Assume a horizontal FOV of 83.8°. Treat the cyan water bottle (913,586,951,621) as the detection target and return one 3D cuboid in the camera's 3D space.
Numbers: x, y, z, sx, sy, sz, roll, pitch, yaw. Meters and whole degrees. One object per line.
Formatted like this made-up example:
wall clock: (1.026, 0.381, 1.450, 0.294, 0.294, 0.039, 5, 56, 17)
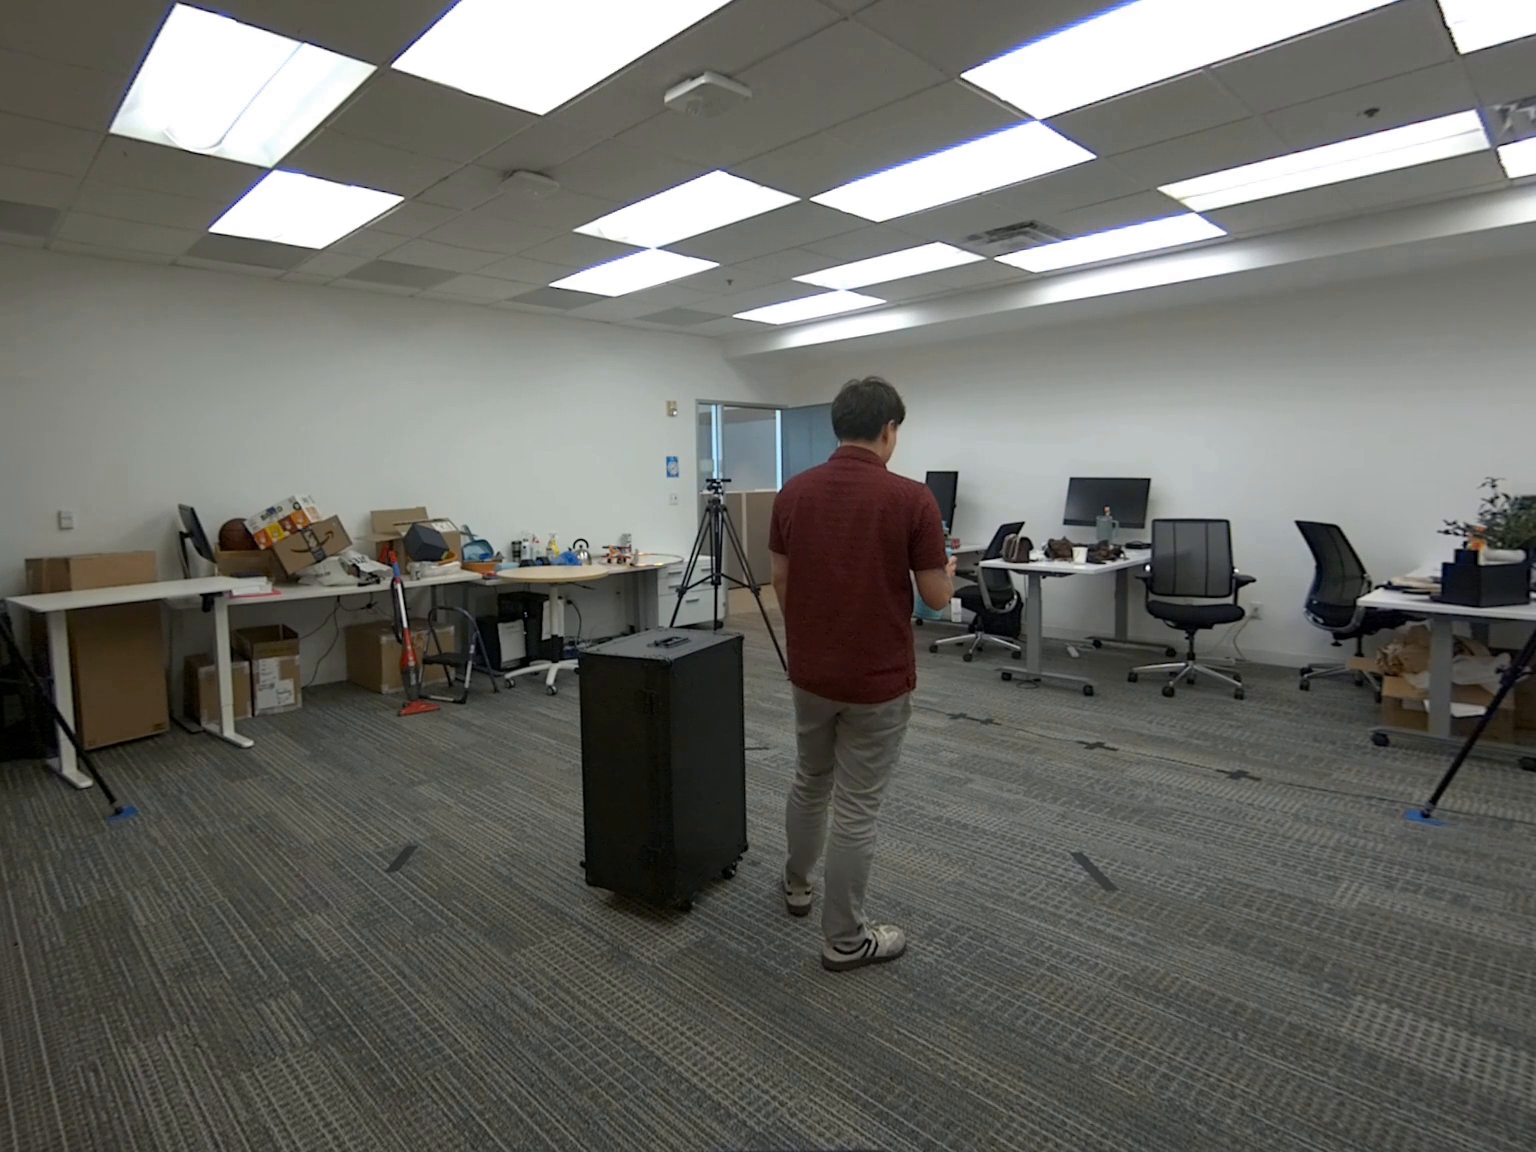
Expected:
cyan water bottle: (0.527, -0.015, 2.662, 0.092, 0.283, 0.092, 6, 2, -2)
